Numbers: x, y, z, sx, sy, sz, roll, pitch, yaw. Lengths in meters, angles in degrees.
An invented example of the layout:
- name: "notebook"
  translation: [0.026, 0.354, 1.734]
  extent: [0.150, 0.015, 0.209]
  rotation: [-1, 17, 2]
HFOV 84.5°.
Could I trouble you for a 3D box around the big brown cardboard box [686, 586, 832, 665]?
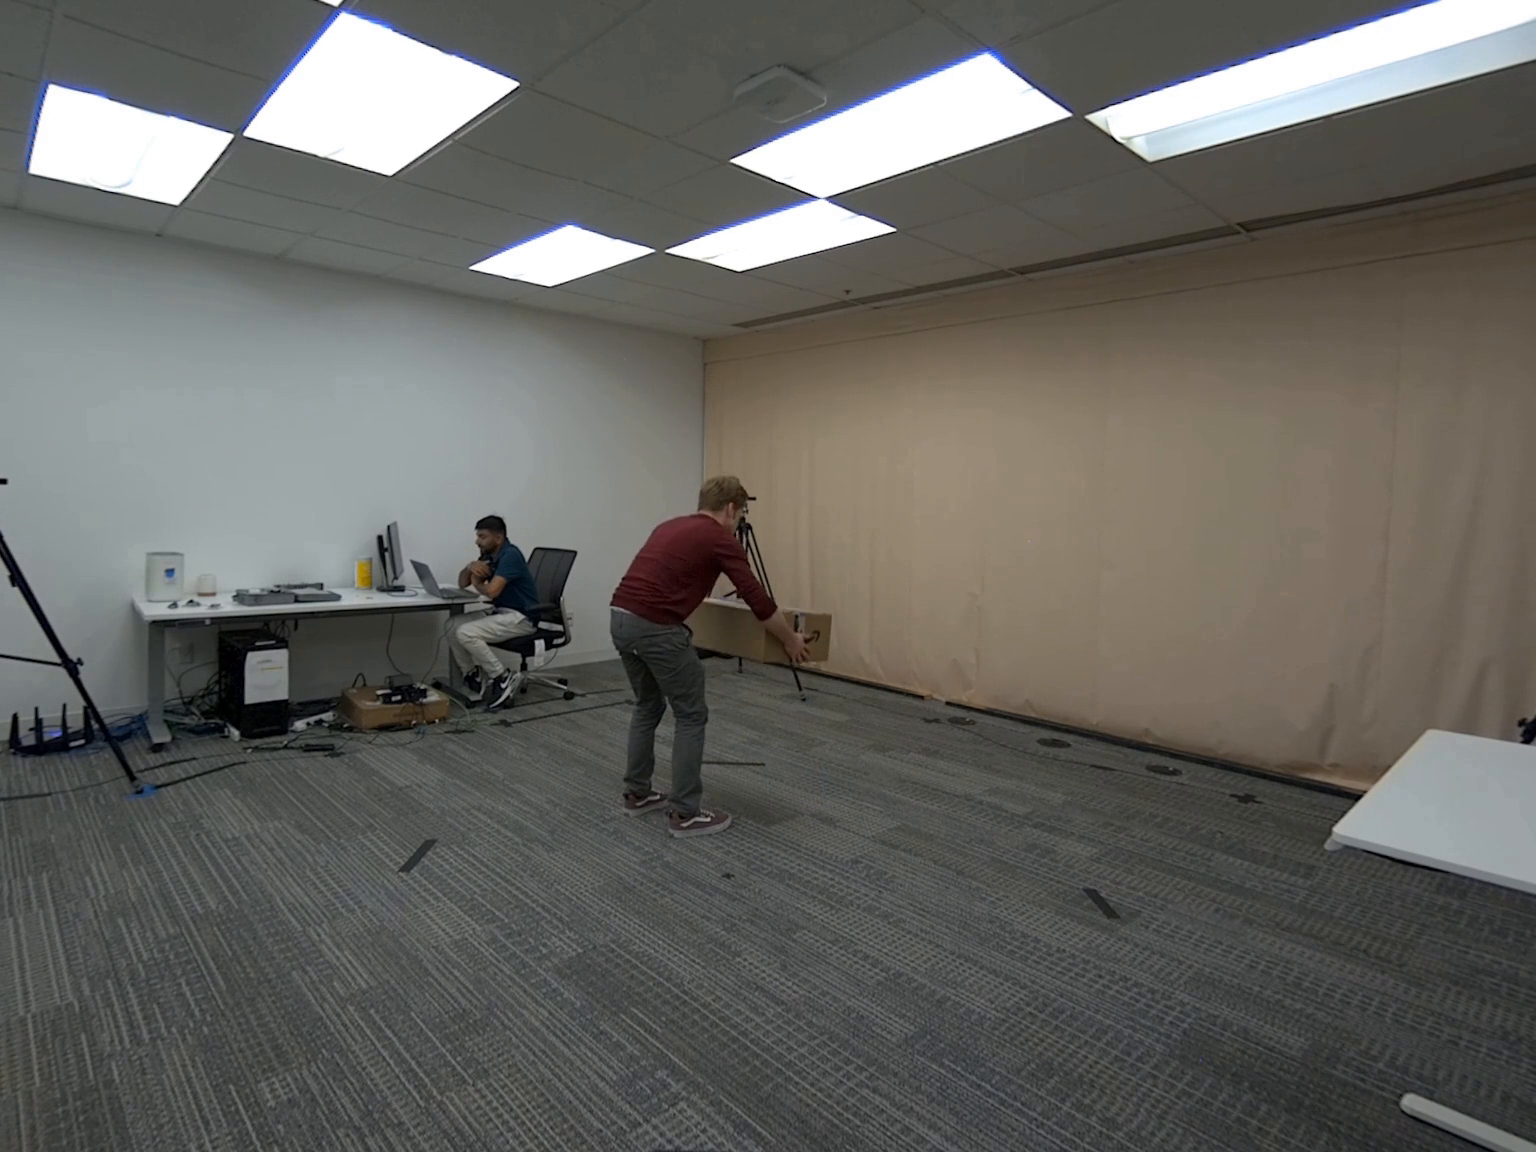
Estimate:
- name: "big brown cardboard box"
  translation: [-0.077, 0.242, 3.894]
  extent: [0.407, 0.233, 0.604]
  rotation: [4, 3, -43]
